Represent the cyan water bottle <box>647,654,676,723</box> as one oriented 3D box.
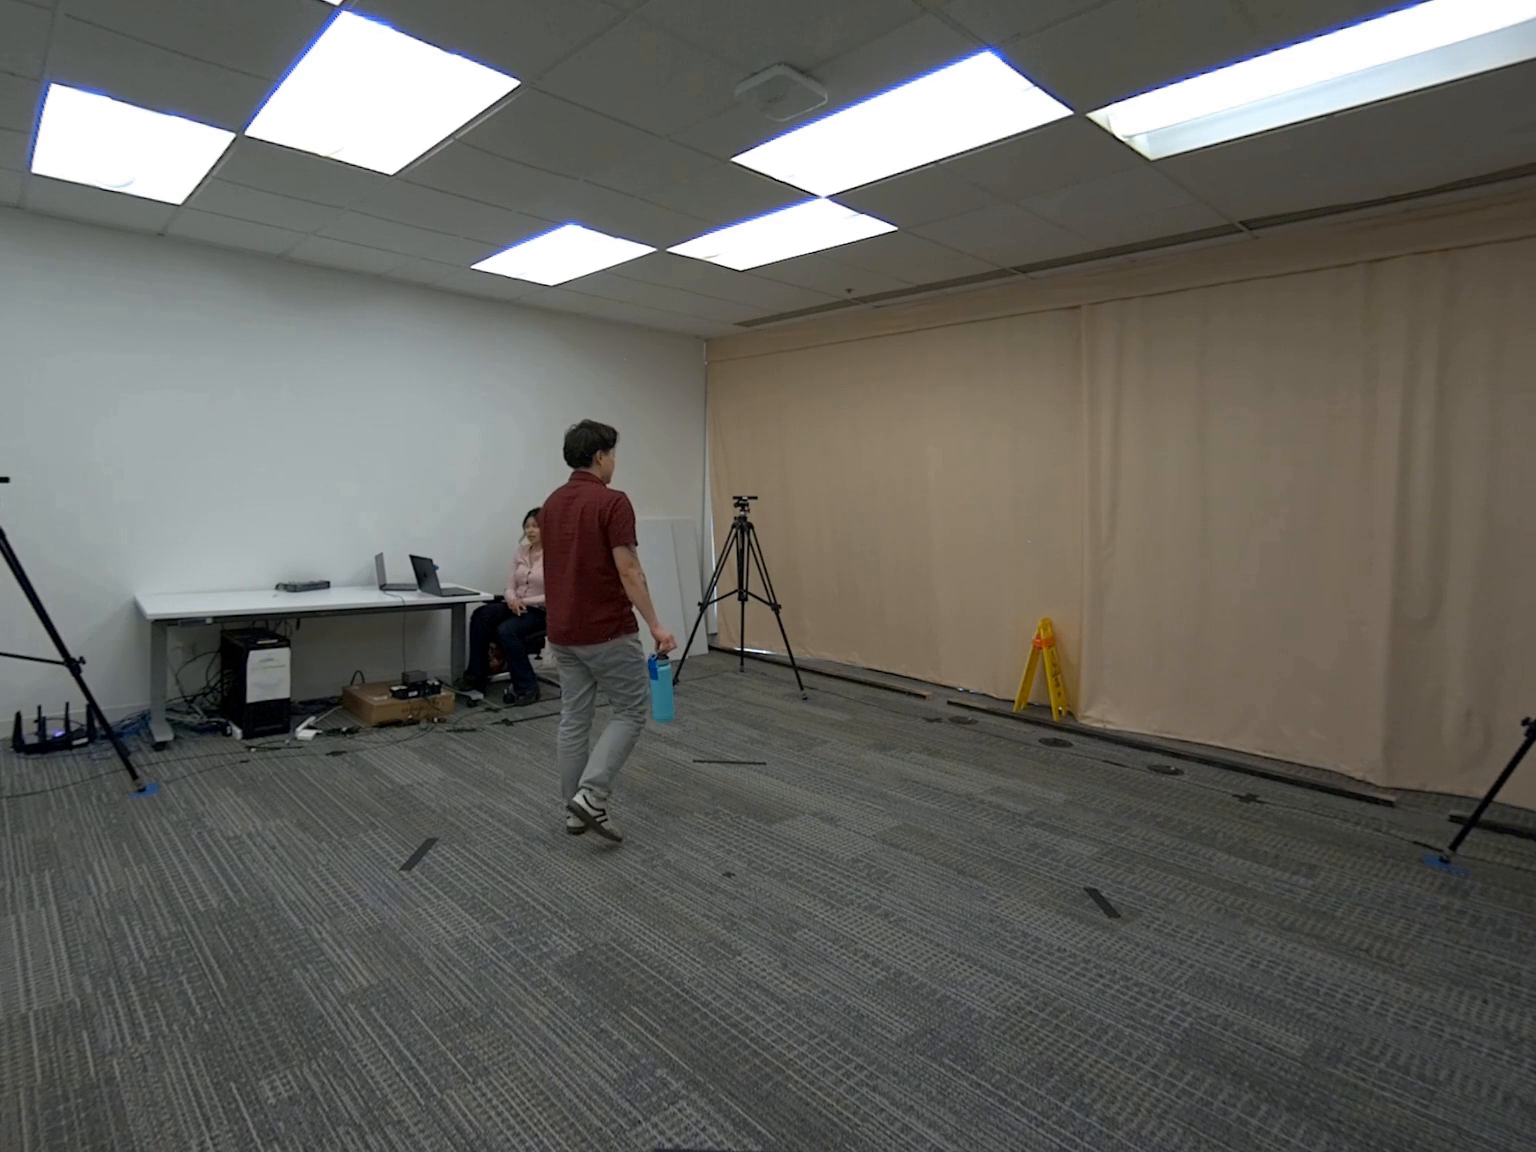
[{"bbox_3d":[-0.448,0.441,3.377,0.092,0.281,0.093,-1,10,-1],"label":"cyan water bottle"}]
